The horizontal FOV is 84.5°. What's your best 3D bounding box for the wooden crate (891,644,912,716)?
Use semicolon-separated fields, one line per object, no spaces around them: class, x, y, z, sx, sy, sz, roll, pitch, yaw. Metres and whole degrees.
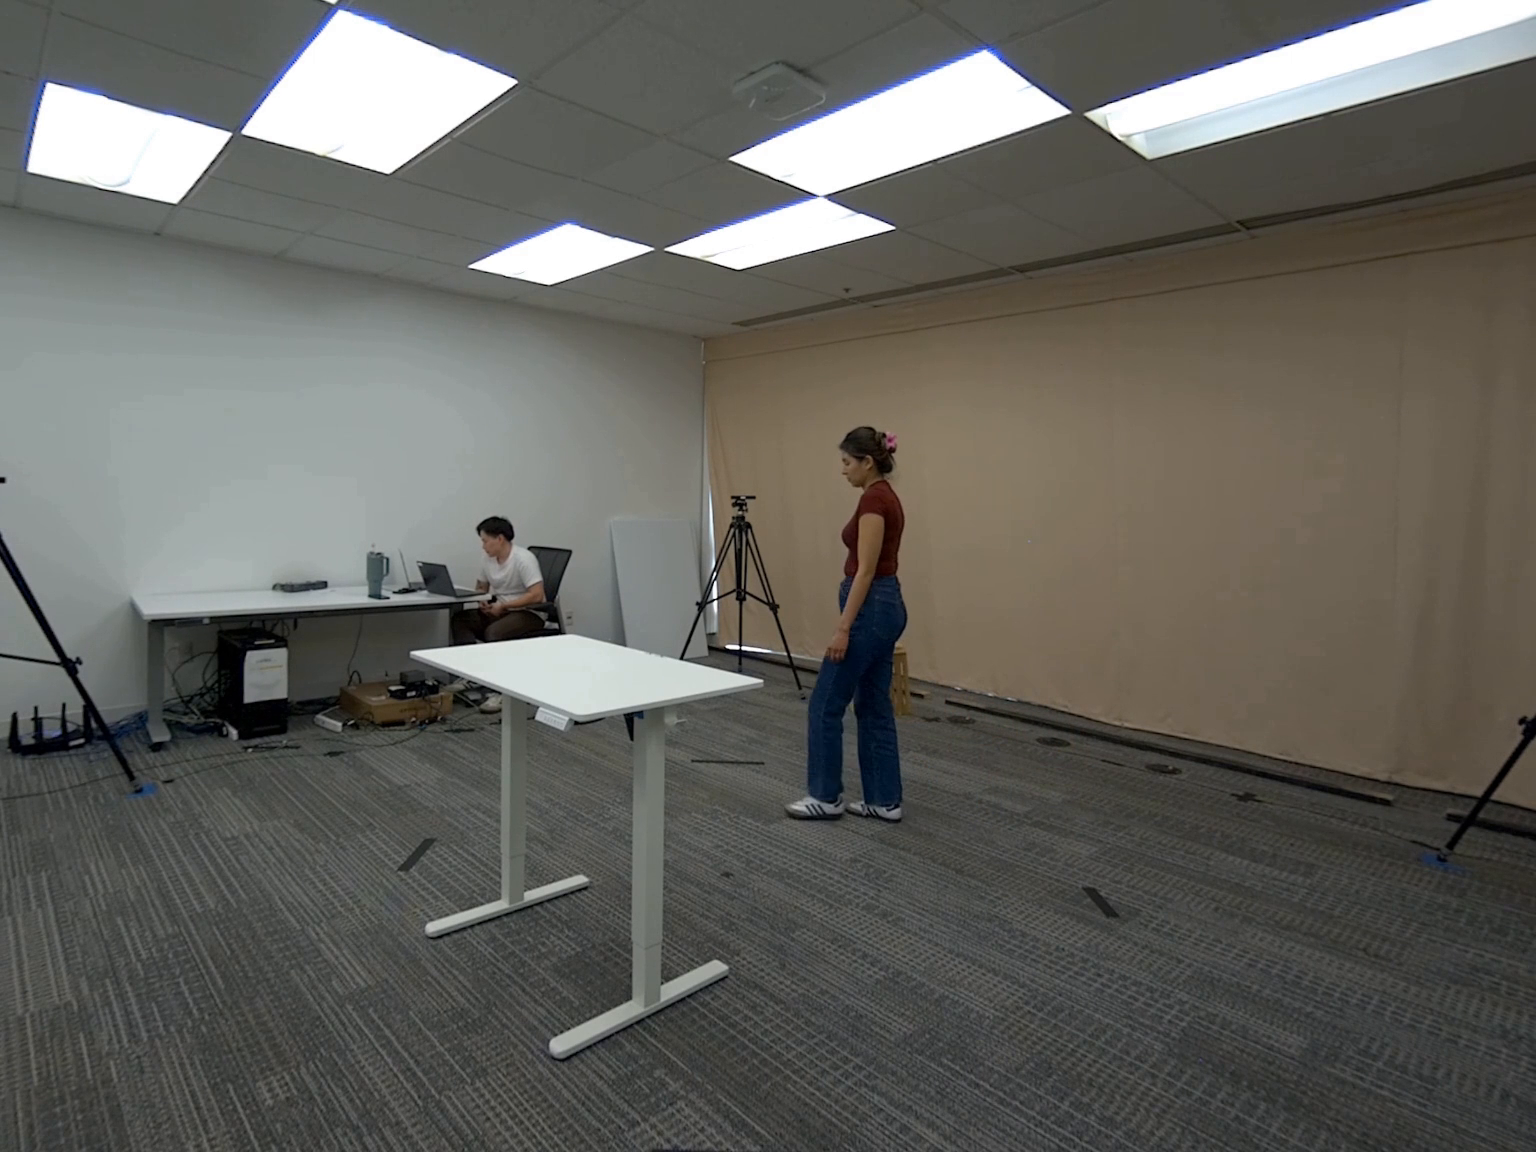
wooden crate;0.512;0.478;4.004;0.274;0.321;0.304;-5;12;2
